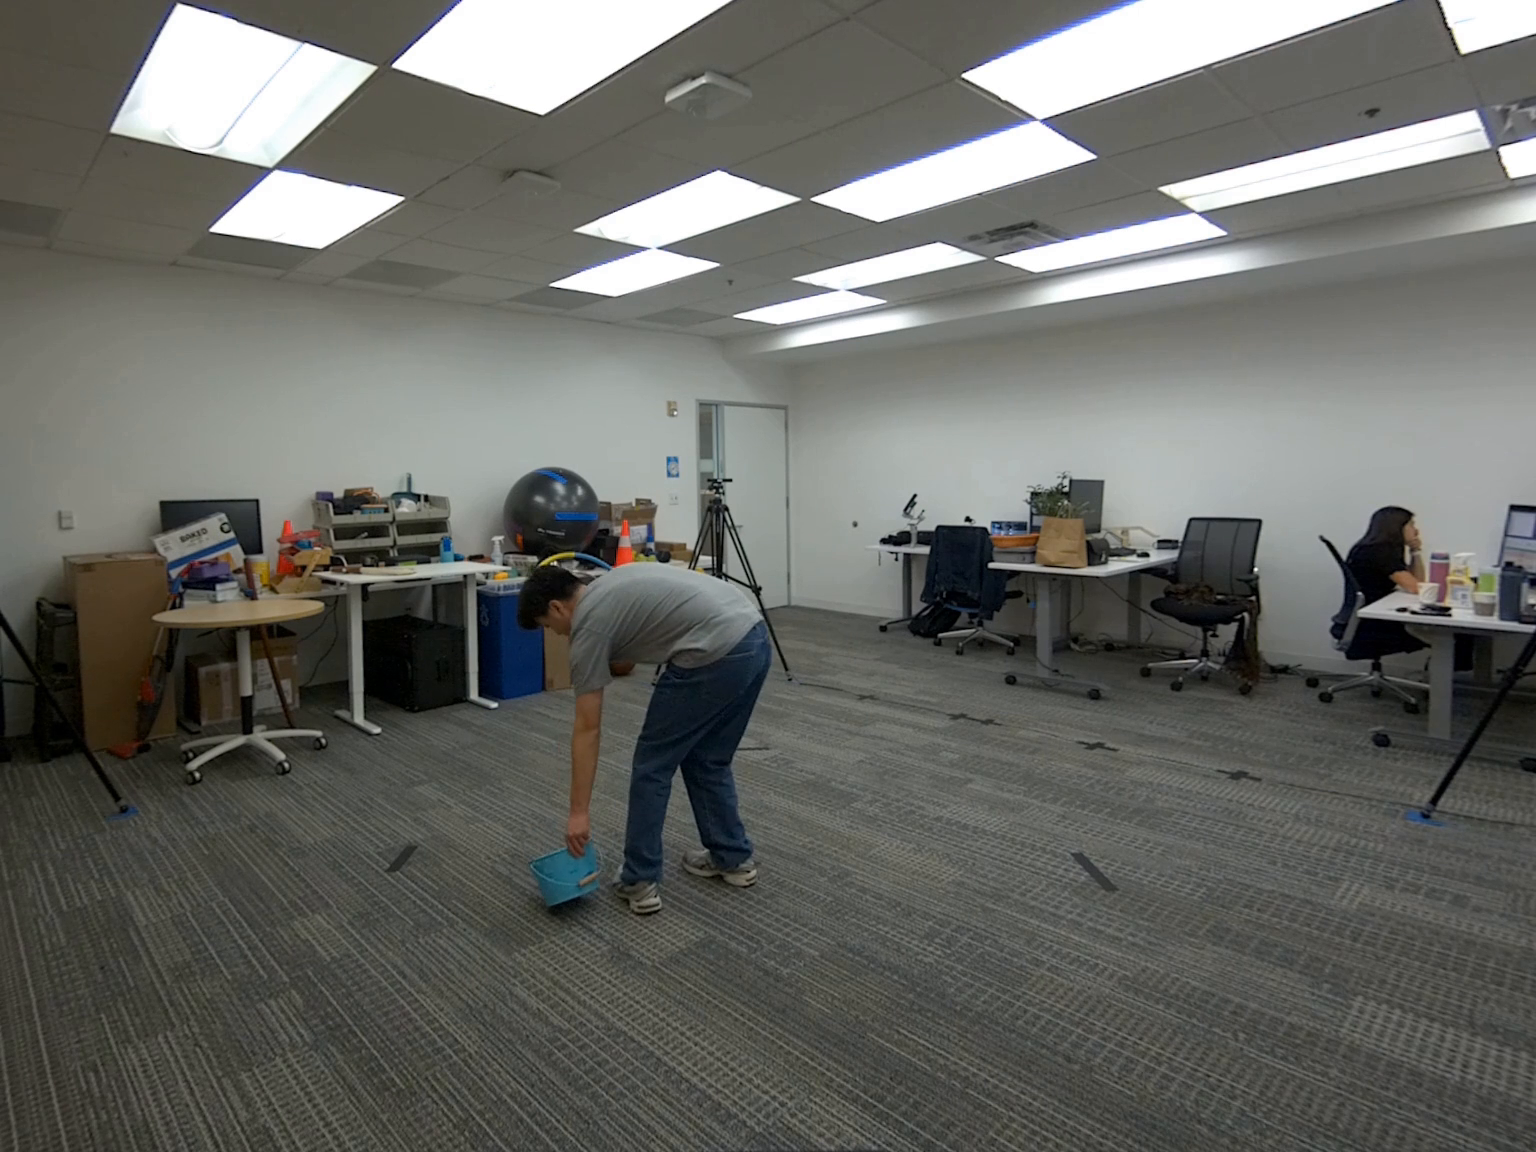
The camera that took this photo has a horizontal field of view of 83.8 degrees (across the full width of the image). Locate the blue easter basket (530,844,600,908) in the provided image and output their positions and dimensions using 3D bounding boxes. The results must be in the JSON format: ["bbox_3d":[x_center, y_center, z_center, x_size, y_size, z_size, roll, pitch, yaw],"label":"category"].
[{"bbox_3d":[-0.655,0.985,2.816,0.242,0.158,0.240,-18,-13,-6],"label":"blue easter basket"}]
